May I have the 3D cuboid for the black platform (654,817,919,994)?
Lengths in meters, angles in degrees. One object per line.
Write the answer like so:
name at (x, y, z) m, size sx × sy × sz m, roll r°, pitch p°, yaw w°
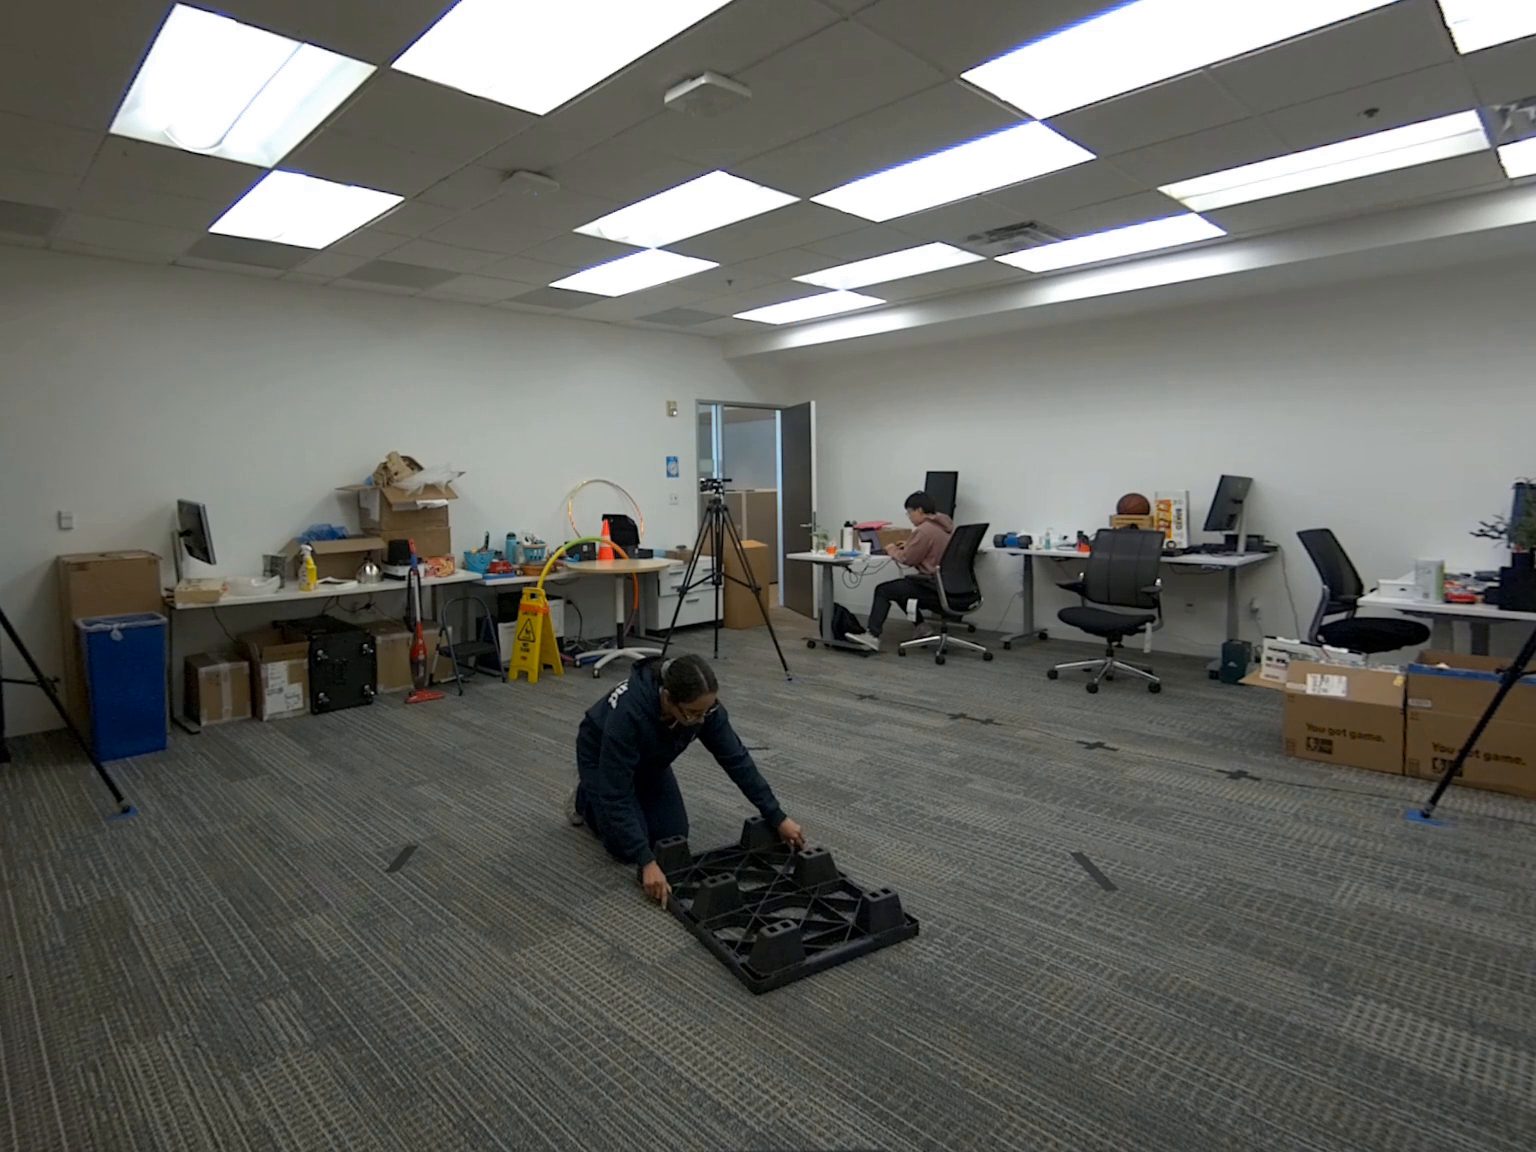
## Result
black platform at (-0.004, 1.012, 2.794) m, size 0.590 × 0.143 × 0.829 m, roll -5°, pitch 7°, yaw -32°
